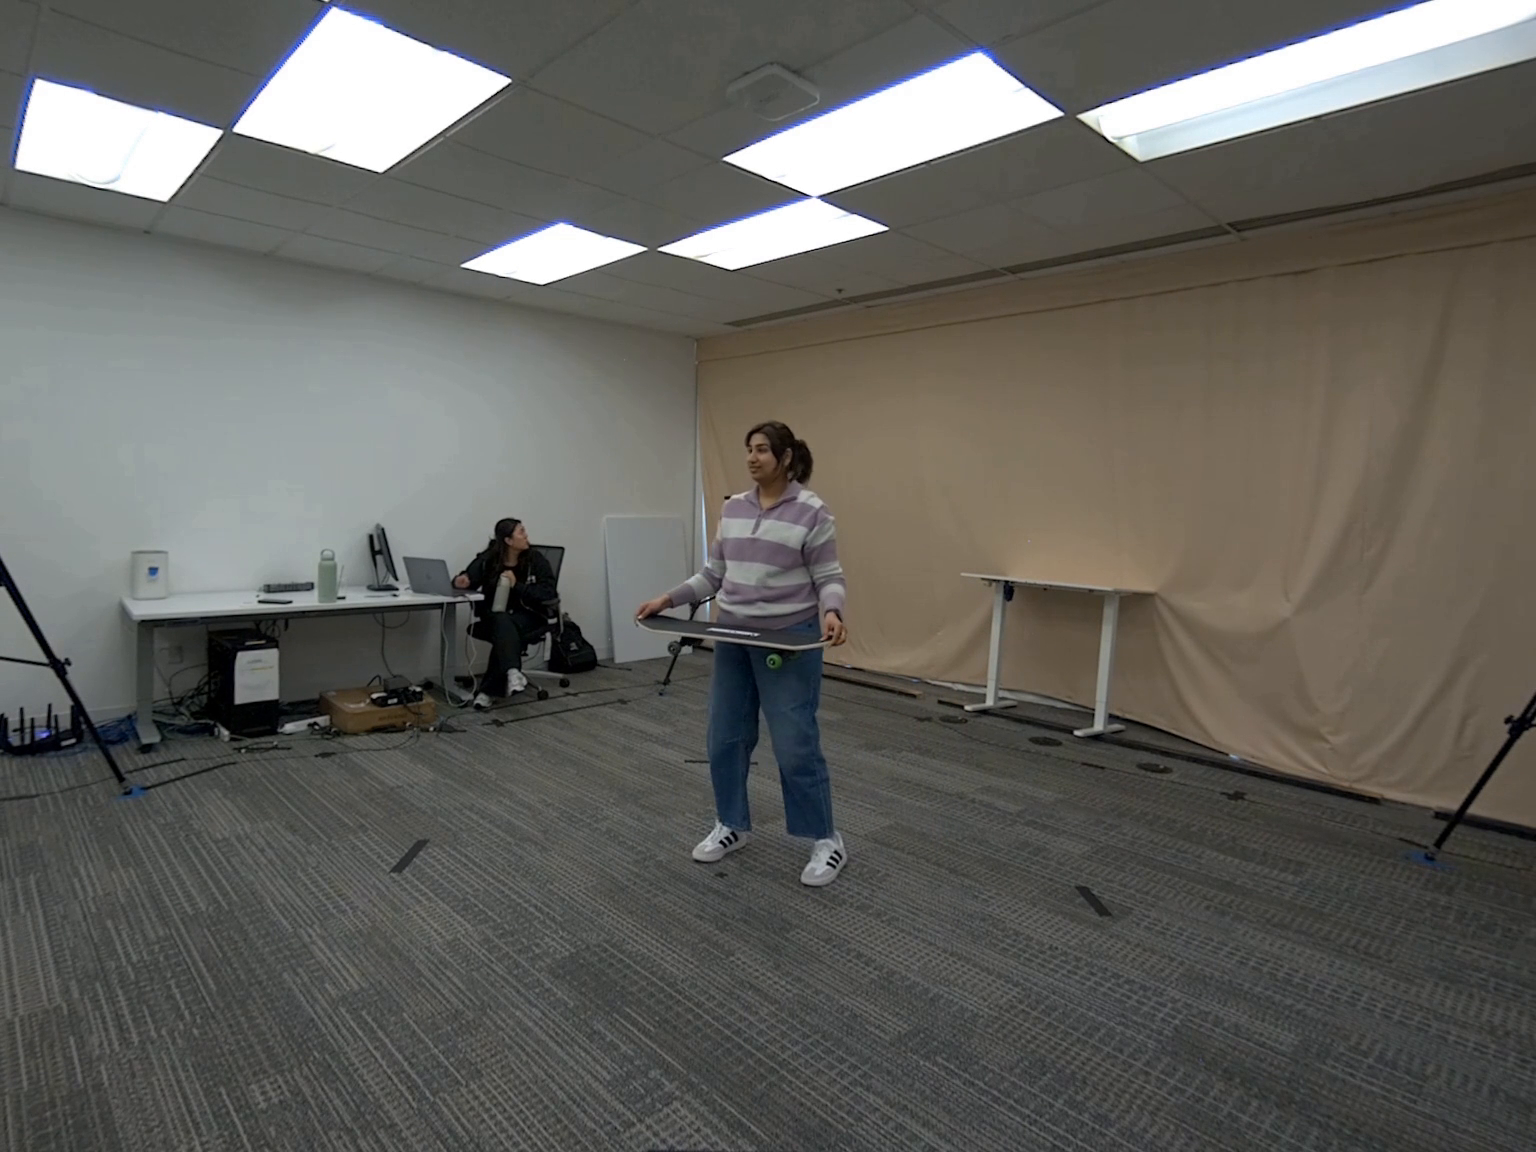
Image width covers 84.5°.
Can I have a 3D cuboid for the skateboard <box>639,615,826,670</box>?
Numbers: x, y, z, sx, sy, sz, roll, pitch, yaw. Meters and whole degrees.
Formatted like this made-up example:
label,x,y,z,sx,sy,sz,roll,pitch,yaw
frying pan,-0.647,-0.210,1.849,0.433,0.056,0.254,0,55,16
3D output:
label,x,y,z,sx,sy,sz,roll,pitch,yaw
skateboard,-0.131,0.235,2.962,0.802,0.109,0.191,4,13,29
